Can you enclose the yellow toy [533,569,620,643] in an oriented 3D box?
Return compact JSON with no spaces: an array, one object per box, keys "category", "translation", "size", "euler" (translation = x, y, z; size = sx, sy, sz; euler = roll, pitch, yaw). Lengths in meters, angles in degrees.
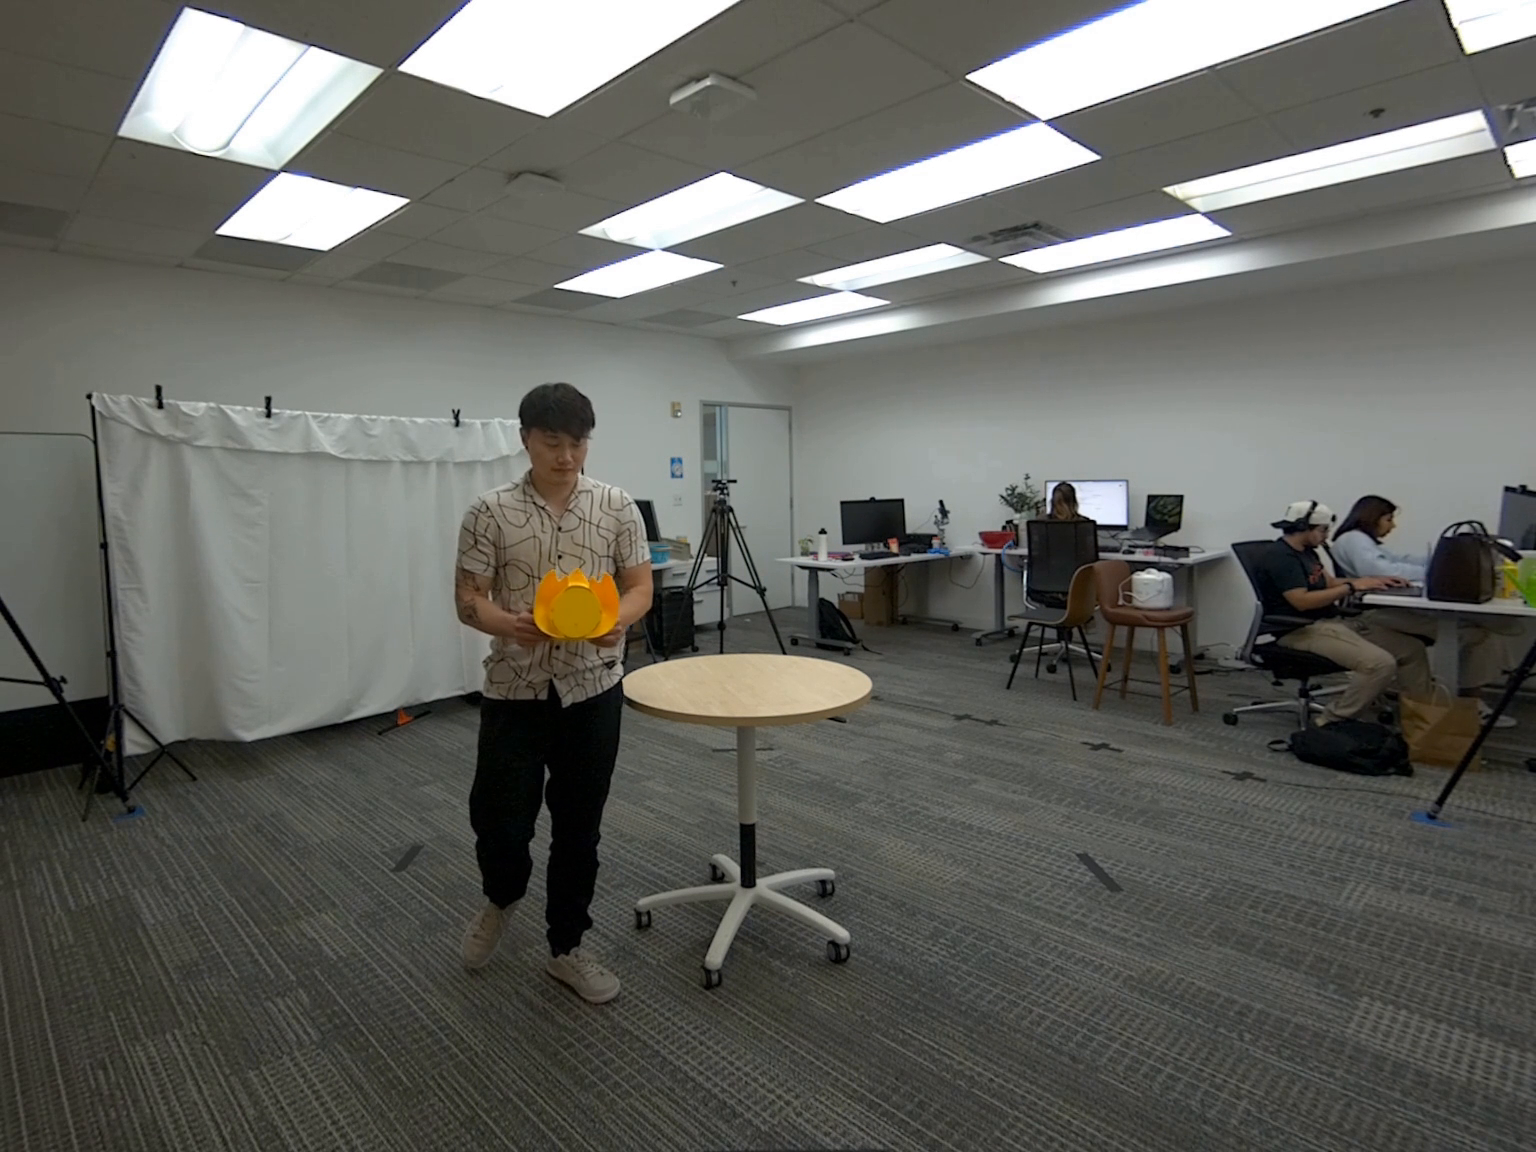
[{"category":"yellow toy","translation":[-0.500,0.064,2.139],"size":[0.201,0.192,0.236],"euler":[3,8,-18]}]
